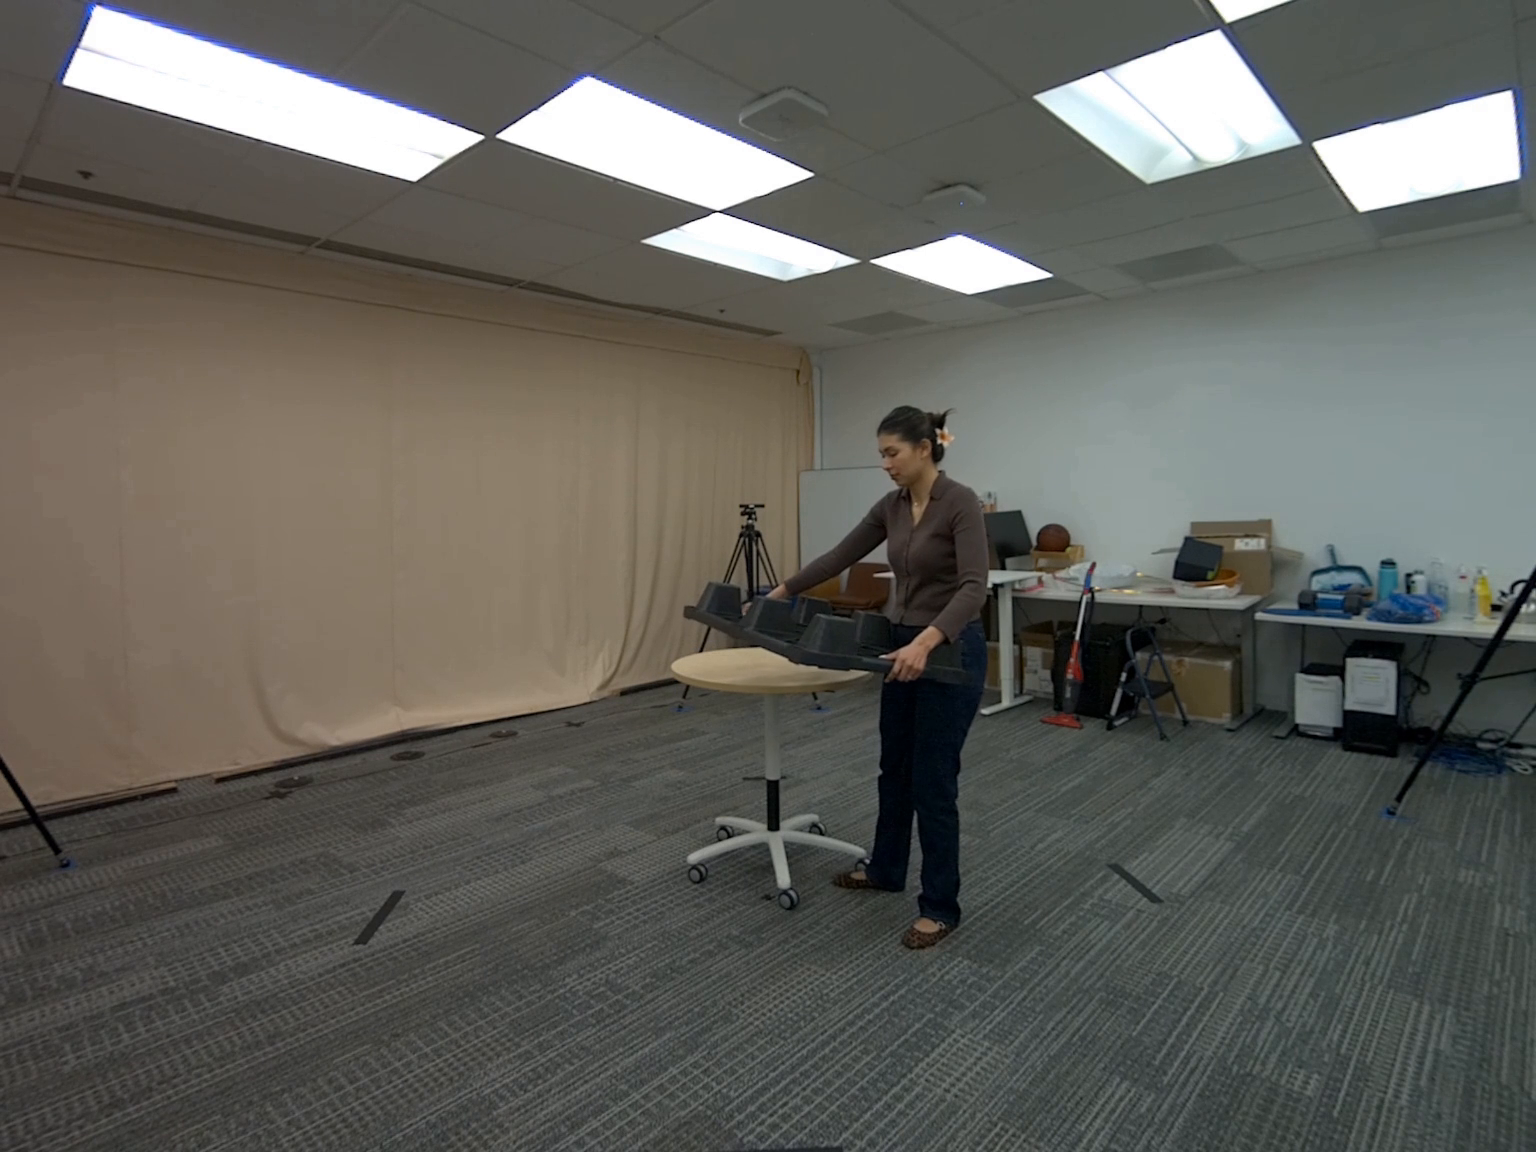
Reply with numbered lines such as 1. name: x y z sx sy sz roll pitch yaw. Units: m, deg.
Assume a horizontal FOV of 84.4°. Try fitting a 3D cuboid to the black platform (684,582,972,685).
1. black platform: 0.169 0.166 2.654 0.588 0.143 0.829 8 3 -29
